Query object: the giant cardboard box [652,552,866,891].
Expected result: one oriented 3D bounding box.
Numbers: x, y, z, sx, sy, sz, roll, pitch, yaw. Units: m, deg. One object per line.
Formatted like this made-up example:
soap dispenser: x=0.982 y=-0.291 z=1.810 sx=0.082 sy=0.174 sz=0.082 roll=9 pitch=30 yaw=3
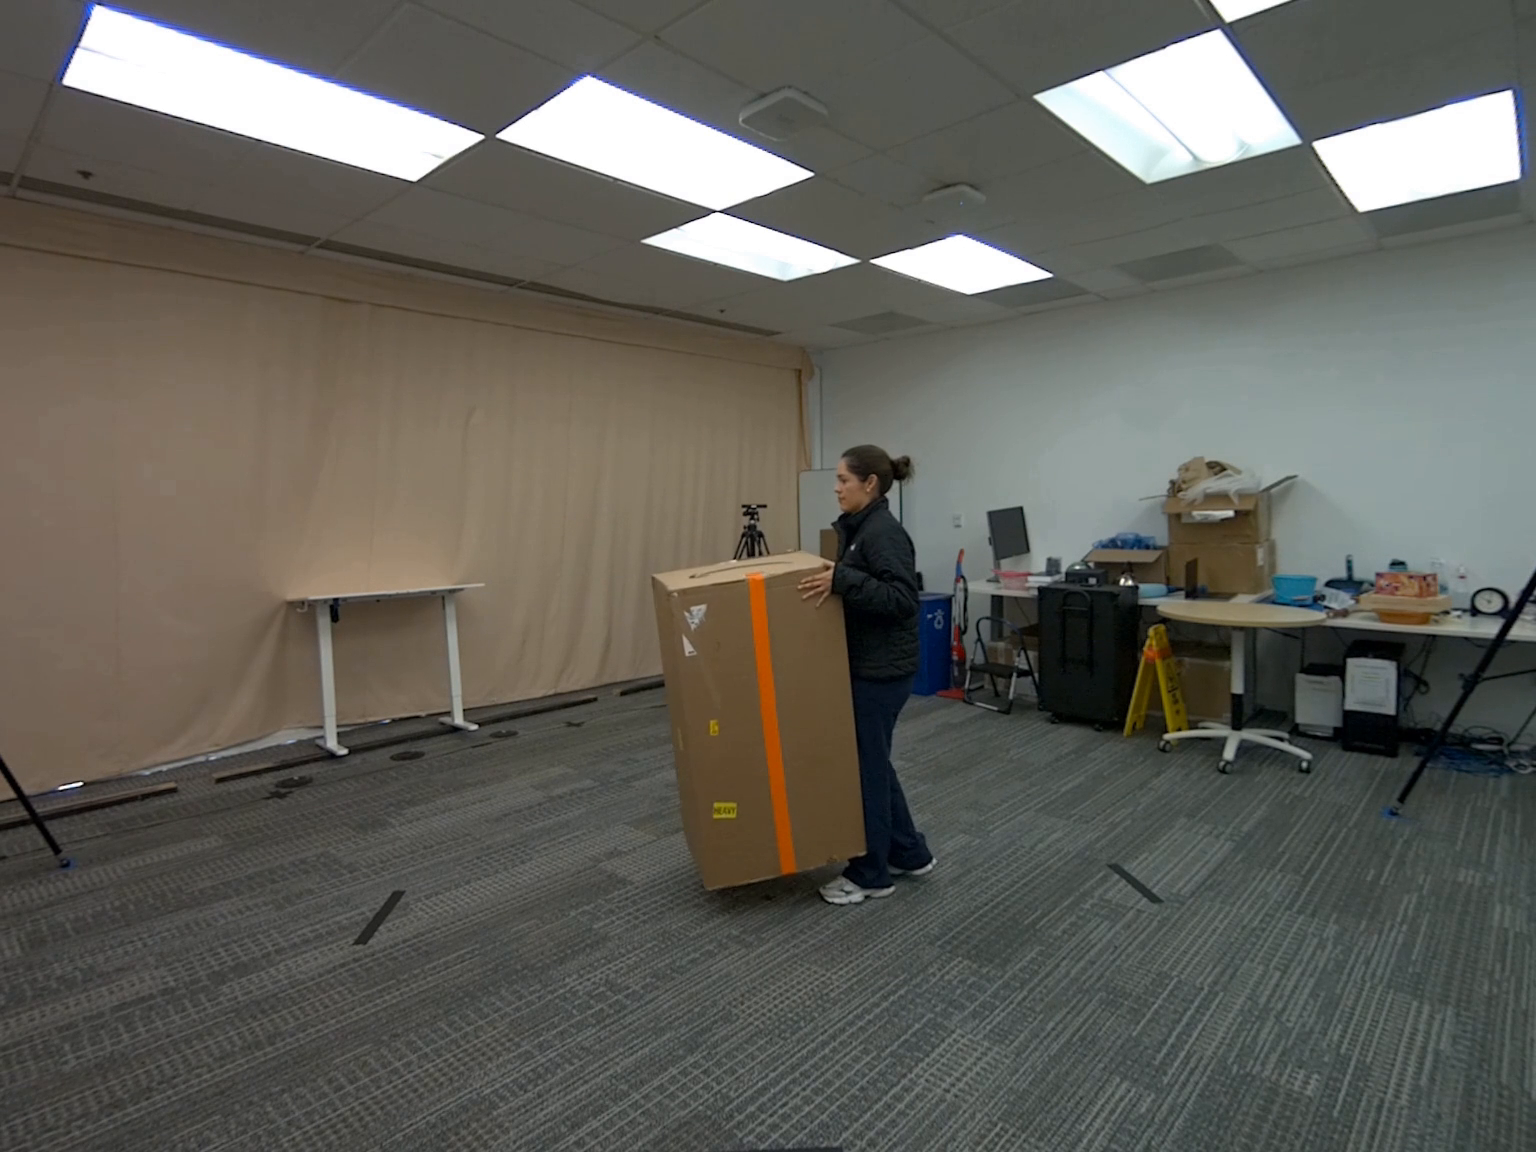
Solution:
giant cardboard box: x=-0.028 y=0.483 z=2.988 sx=0.571 sy=1.020 sz=0.434 roll=-8 pitch=7 yaw=-13
